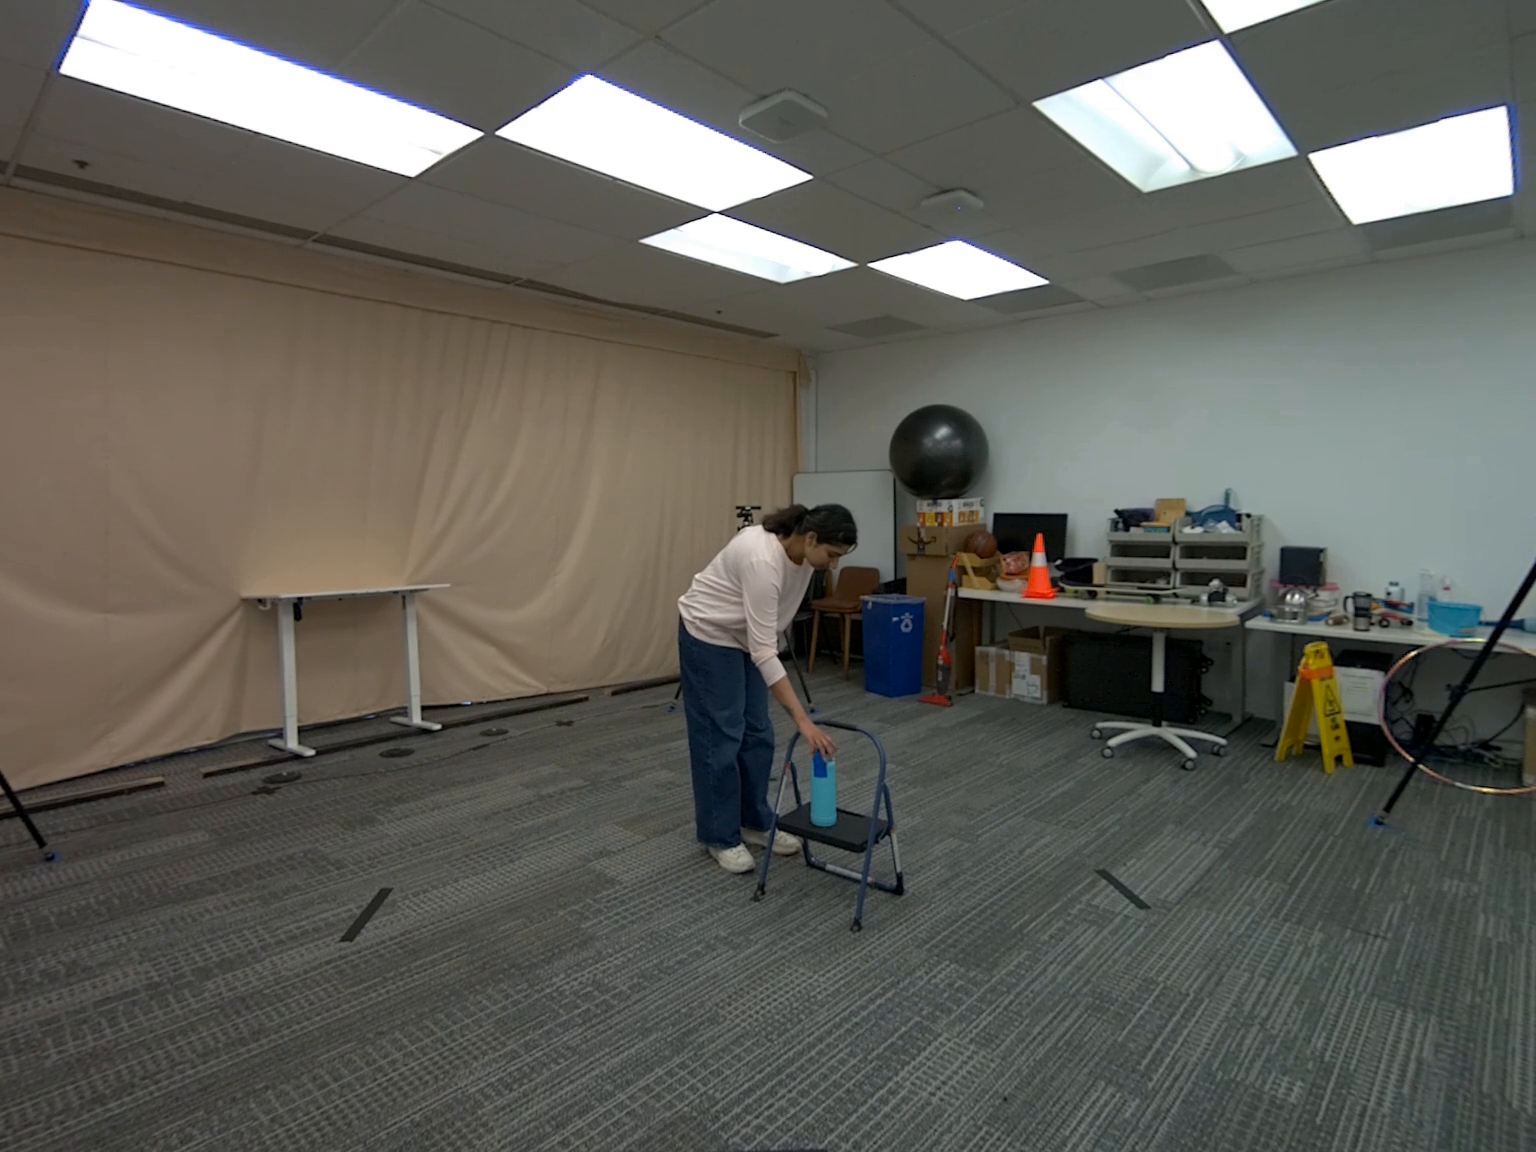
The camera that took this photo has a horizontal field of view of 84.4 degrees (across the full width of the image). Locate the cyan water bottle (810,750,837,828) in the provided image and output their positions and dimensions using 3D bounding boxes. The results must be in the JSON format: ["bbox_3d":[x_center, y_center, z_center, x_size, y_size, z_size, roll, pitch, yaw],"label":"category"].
[{"bbox_3d":[0.199,0.744,3.002,0.092,0.282,0.093,-2,5,-2],"label":"cyan water bottle"}]
